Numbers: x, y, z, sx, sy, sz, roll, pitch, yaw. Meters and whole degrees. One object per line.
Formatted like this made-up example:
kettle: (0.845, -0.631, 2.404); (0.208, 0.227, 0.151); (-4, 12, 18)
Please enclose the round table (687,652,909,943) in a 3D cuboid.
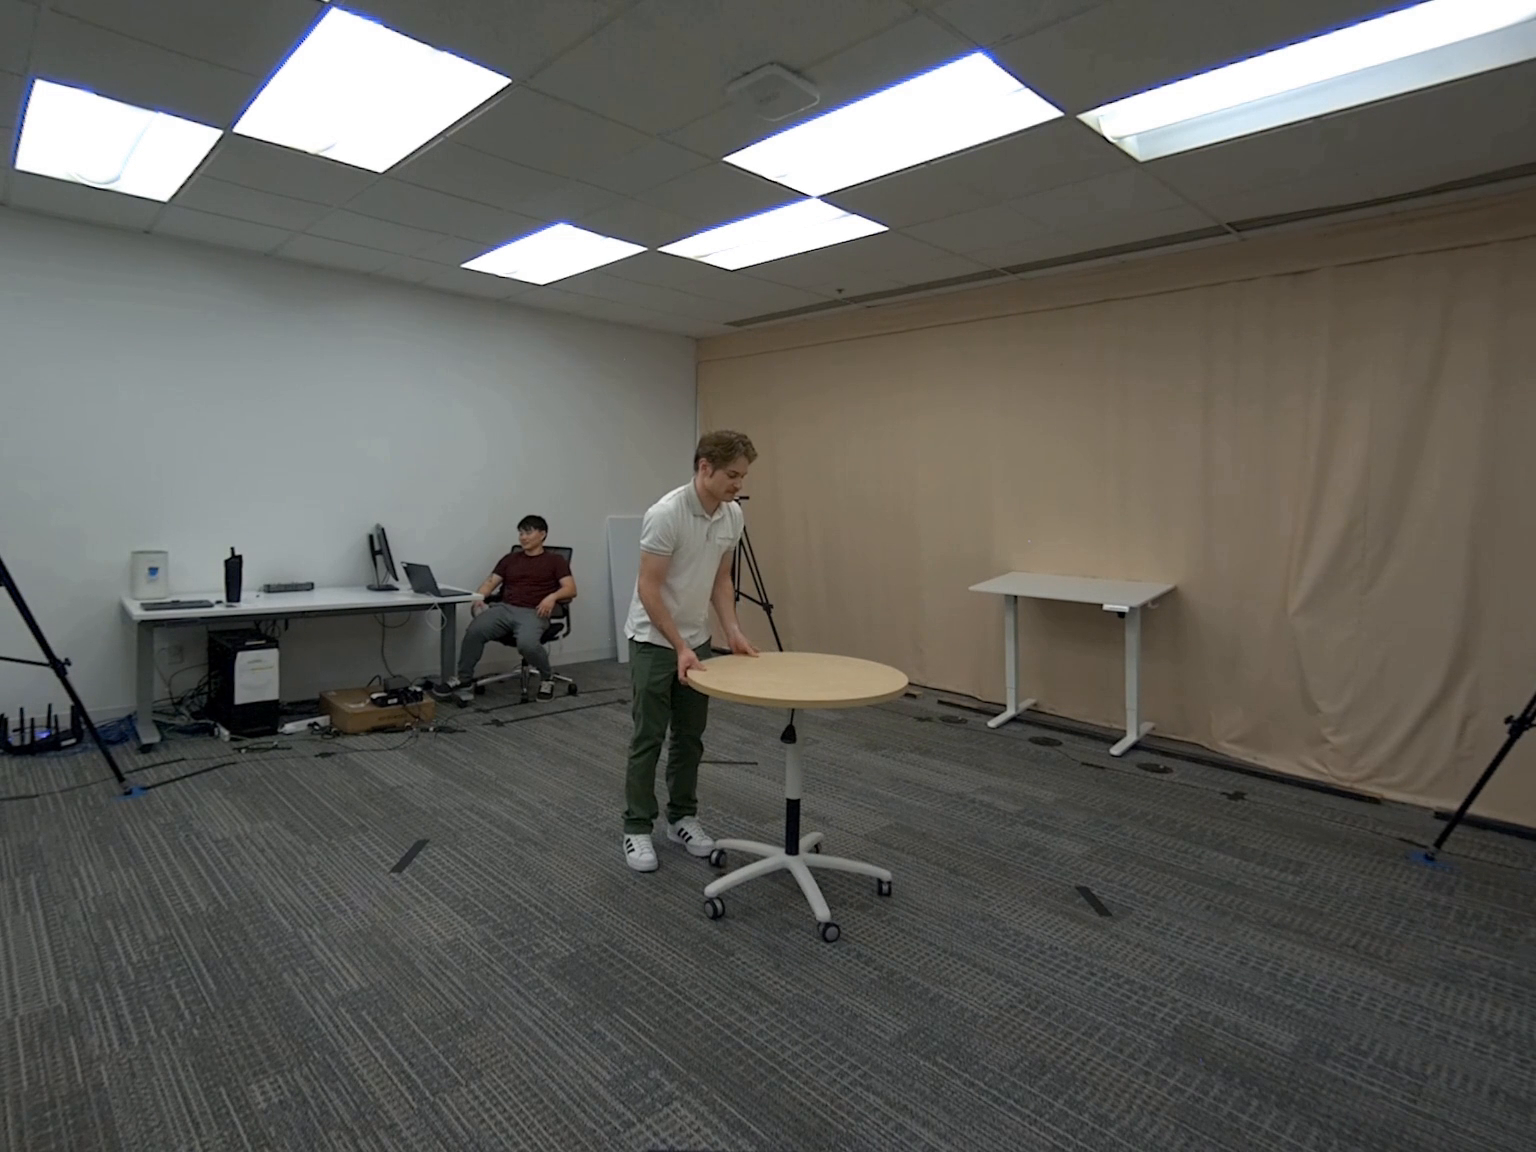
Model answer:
round table: (0.085, 0.732, 2.959); (0.763, 0.791, 0.767); (1, 5, -1)
